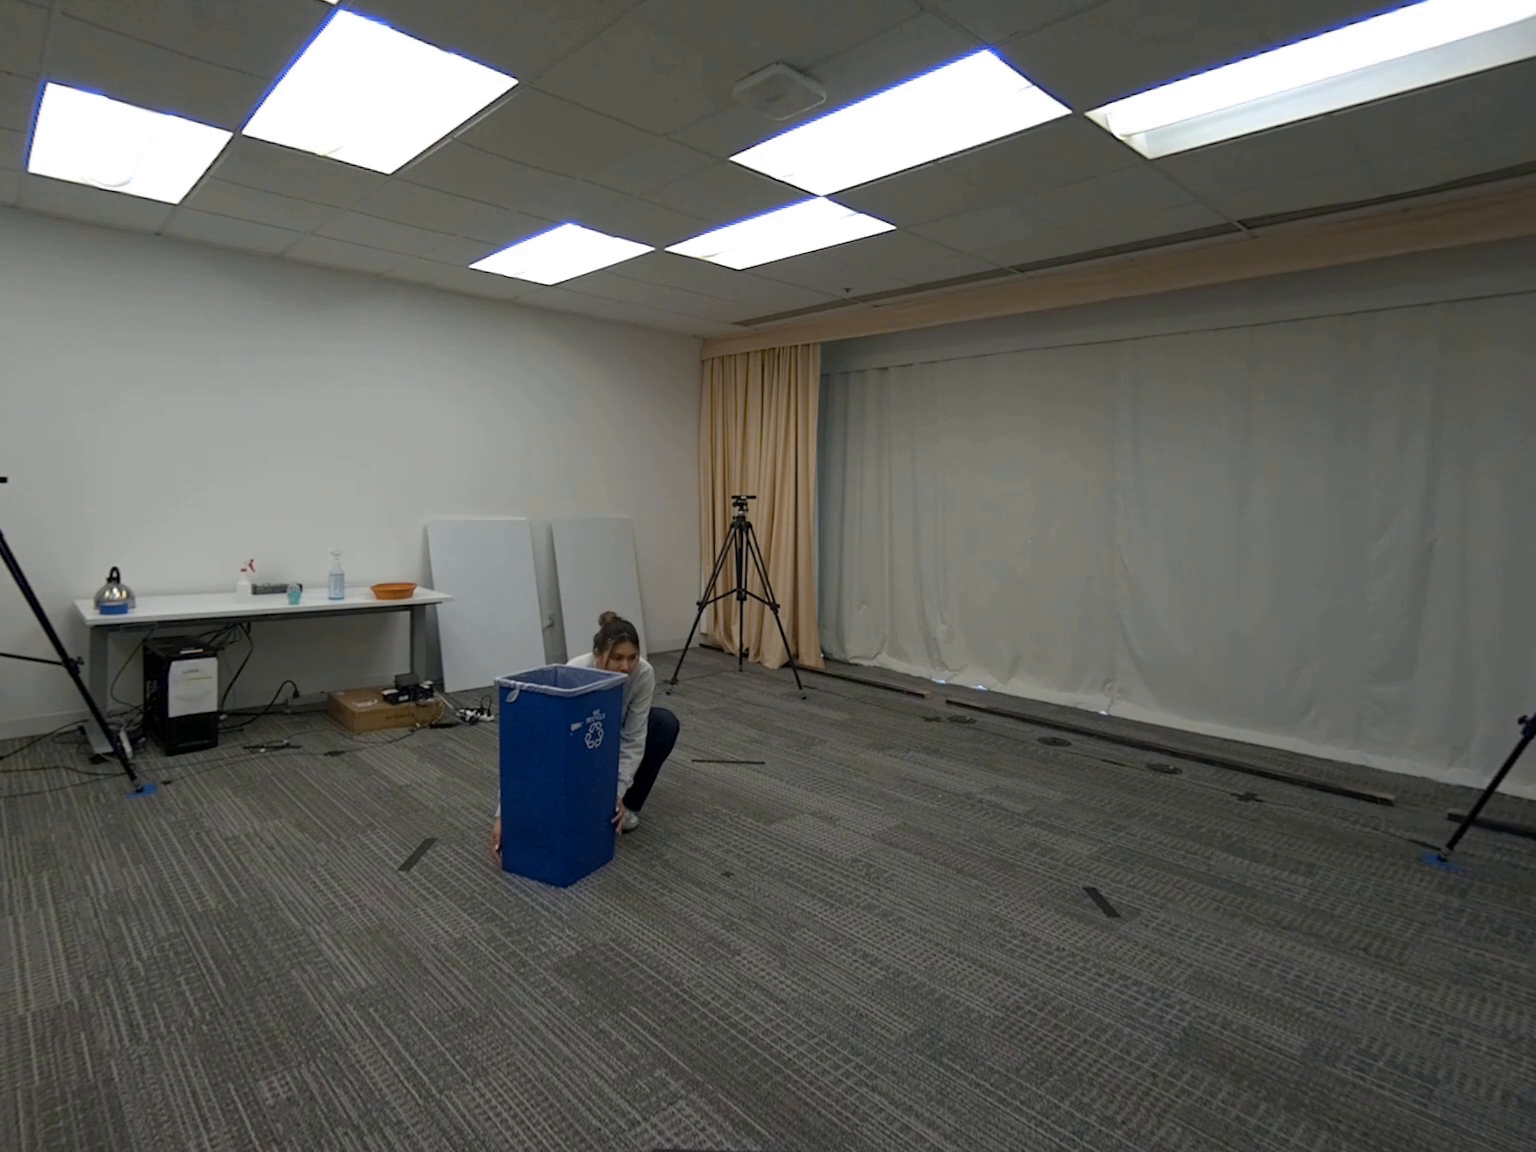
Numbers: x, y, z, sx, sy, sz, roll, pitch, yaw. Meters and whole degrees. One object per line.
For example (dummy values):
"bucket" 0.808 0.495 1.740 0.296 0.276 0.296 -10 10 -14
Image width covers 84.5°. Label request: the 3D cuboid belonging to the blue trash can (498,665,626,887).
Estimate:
"blue trash can" -0.786 0.727 3.149 0.386 0.712 0.367 4 4 27
